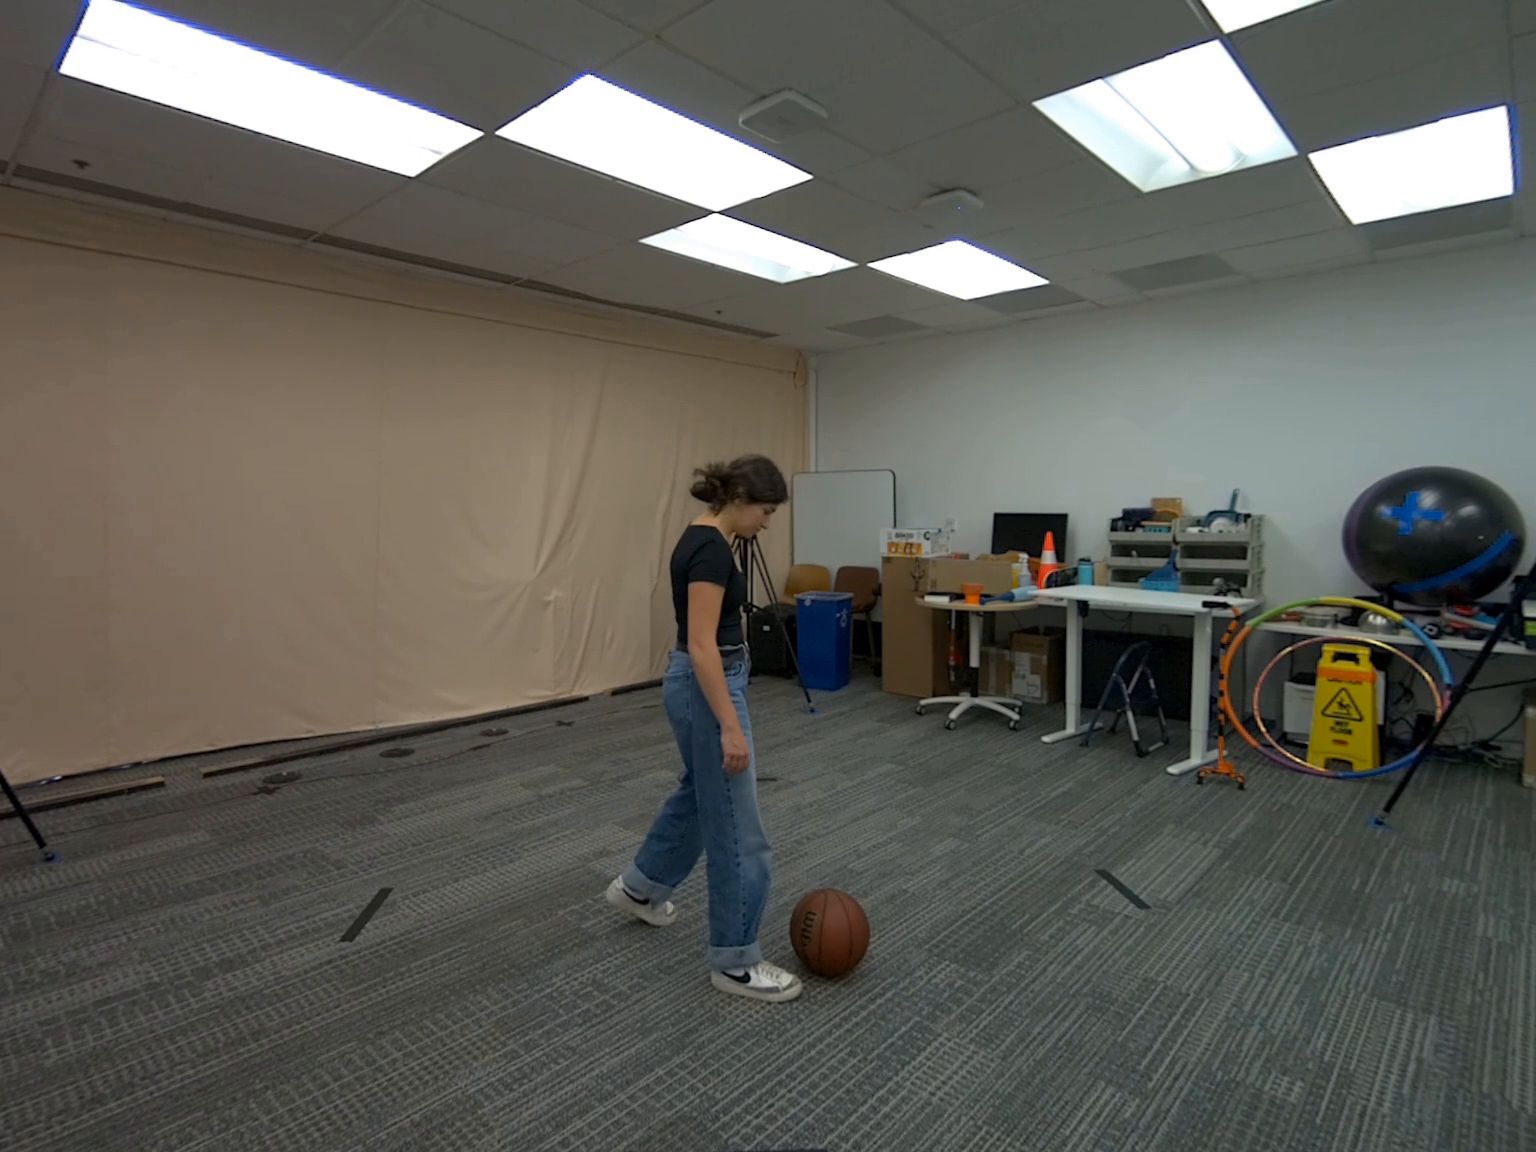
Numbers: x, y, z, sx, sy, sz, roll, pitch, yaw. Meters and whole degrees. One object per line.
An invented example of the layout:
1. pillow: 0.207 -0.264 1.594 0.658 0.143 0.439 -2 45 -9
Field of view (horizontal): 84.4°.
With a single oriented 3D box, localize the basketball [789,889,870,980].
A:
1. basketball: 0.188 1.060 2.518 0.236 0.235 0.237 0 4 -2
